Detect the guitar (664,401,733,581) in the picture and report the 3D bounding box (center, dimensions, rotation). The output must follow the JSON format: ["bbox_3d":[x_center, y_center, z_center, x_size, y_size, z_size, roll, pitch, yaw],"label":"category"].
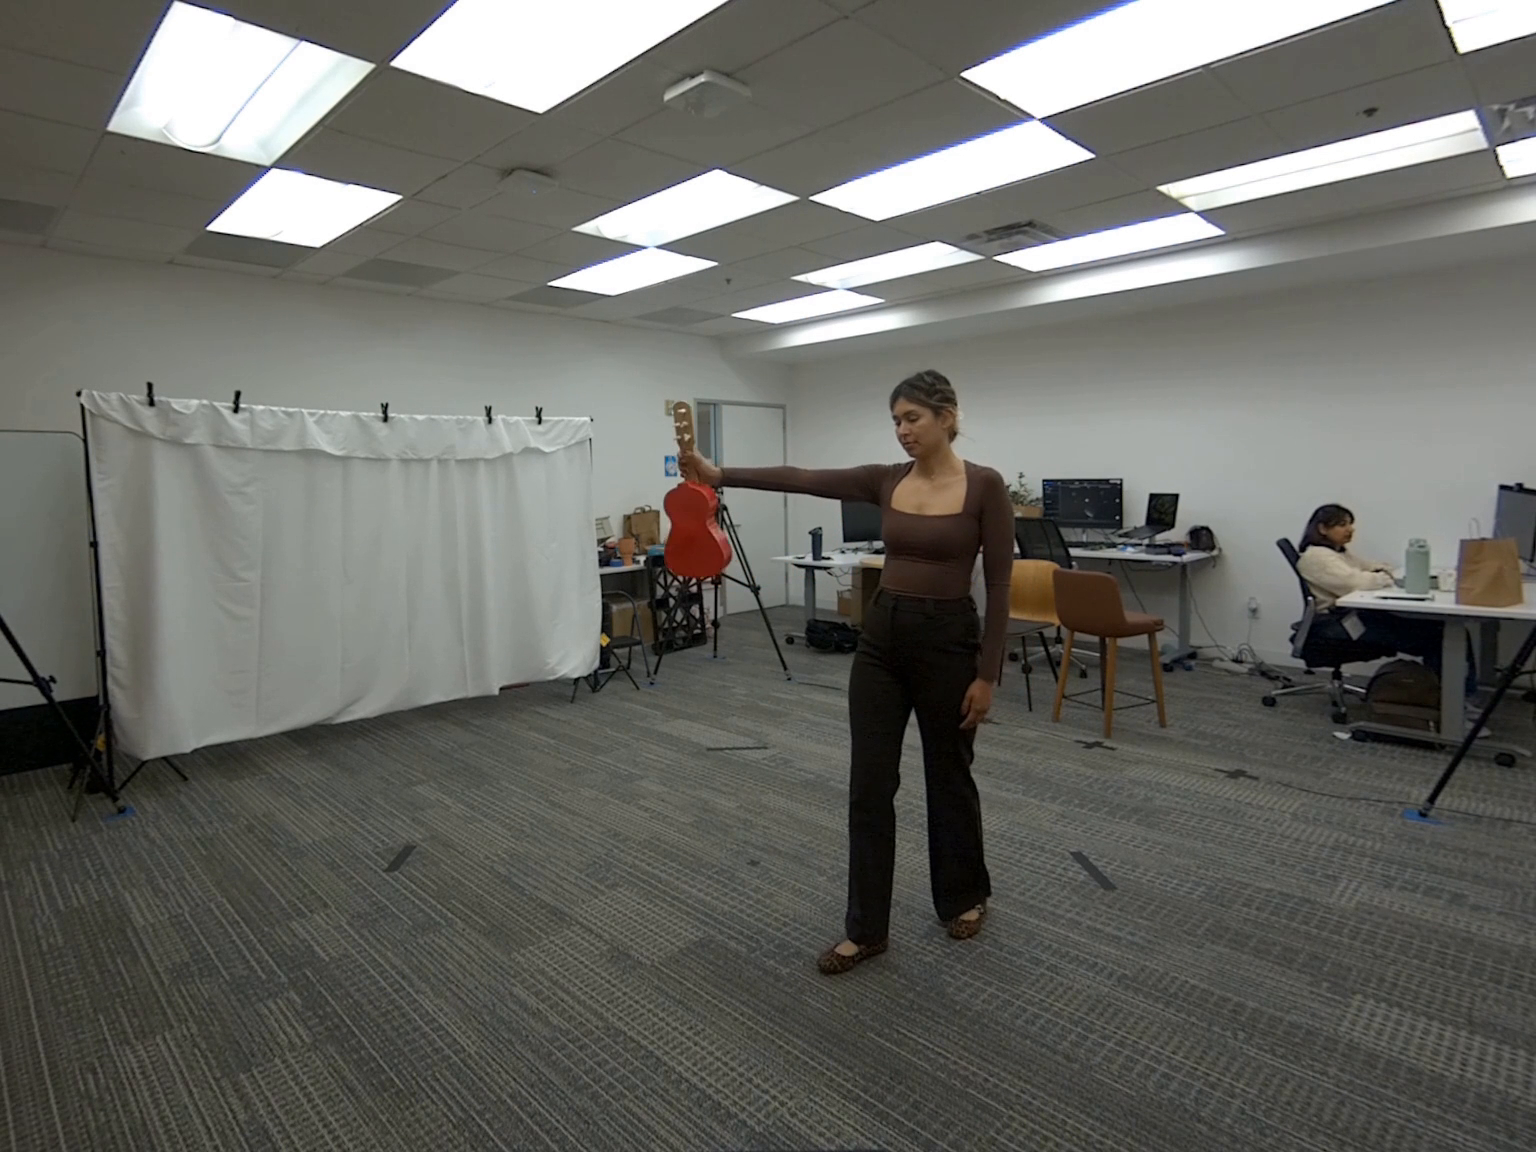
[{"bbox_3d":[-0.238,-0.241,2.440,0.196,0.493,0.070,-9,10,25],"label":"guitar"}]
